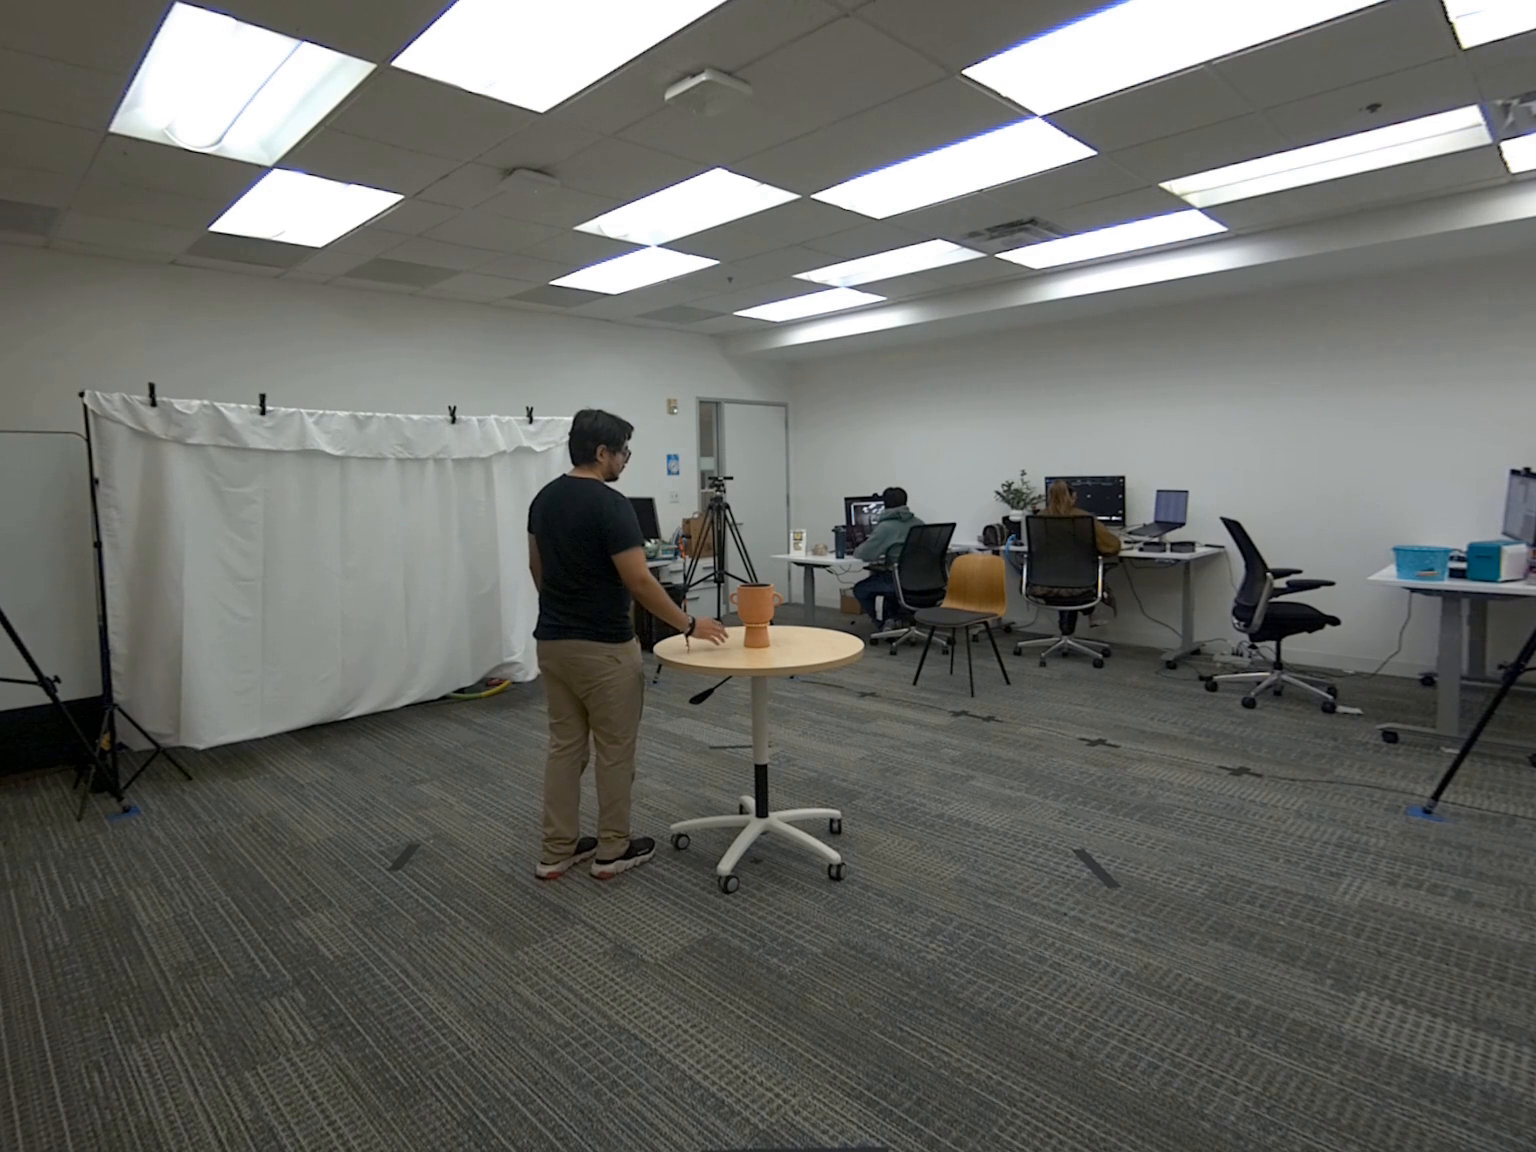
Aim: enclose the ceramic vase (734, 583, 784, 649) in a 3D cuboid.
[{"bbox_3d":[-0.045,0.142,3.100,0.131,0.219,0.163,-4,6,-34],"label":"ceramic vase"}]
